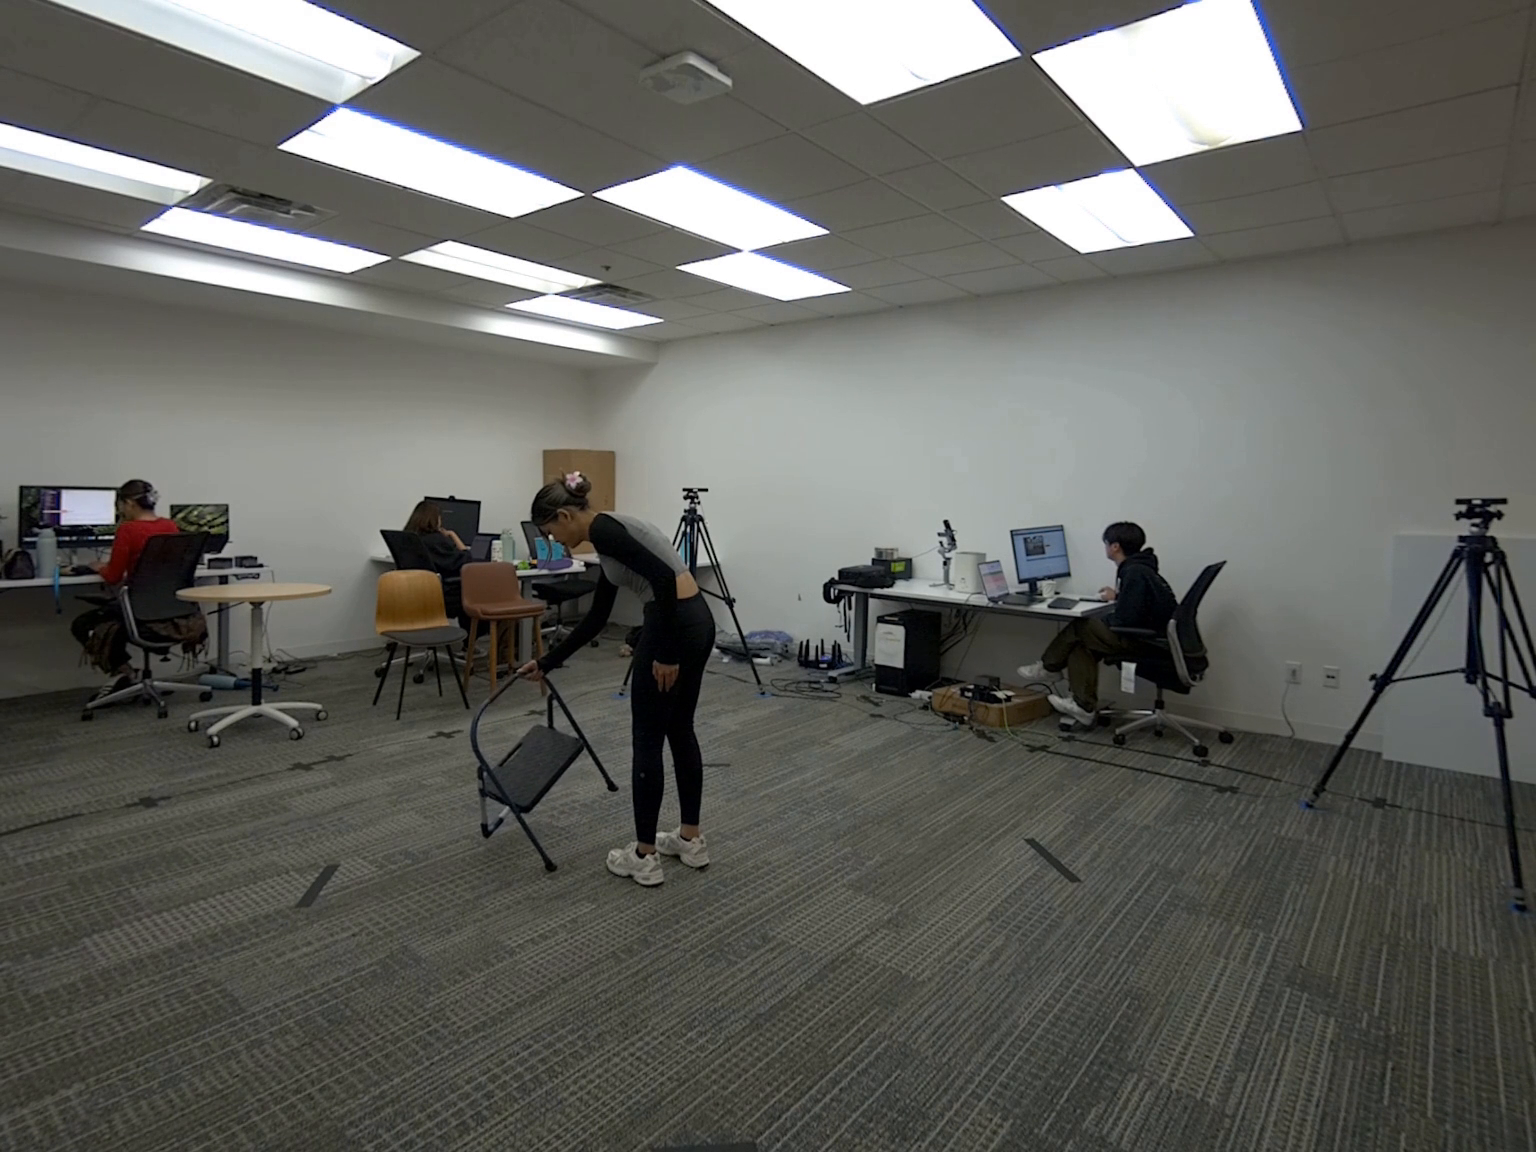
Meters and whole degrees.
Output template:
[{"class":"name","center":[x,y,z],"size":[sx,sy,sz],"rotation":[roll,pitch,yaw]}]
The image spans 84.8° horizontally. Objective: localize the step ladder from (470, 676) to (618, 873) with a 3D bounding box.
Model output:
[{"class":"step ladder","center":[-0.877,0.667,3.140],"size":[0.360,0.589,0.430],"rotation":[11,36,26]}]
